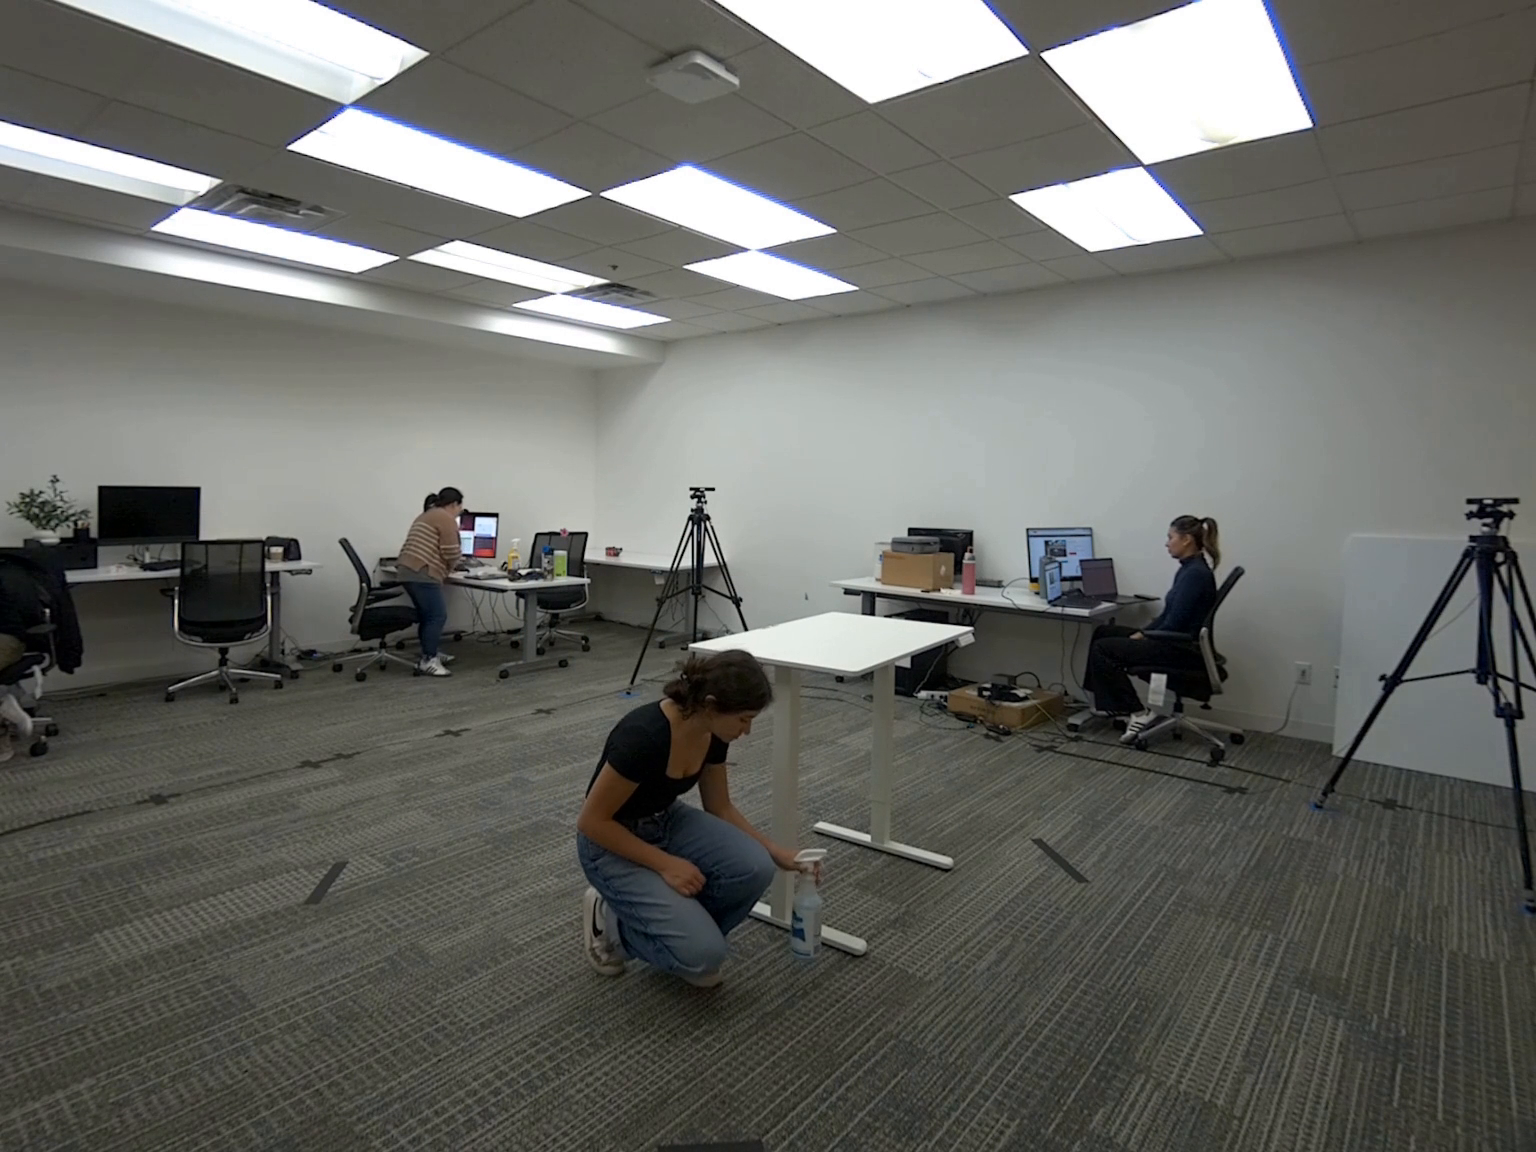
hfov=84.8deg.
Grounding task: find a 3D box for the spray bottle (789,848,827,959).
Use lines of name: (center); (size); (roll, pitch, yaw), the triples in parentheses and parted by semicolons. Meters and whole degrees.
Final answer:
spray bottle: (0.100, 0.924, 2.384); (0.092, 0.297, 0.085); (5, -1, 19)
